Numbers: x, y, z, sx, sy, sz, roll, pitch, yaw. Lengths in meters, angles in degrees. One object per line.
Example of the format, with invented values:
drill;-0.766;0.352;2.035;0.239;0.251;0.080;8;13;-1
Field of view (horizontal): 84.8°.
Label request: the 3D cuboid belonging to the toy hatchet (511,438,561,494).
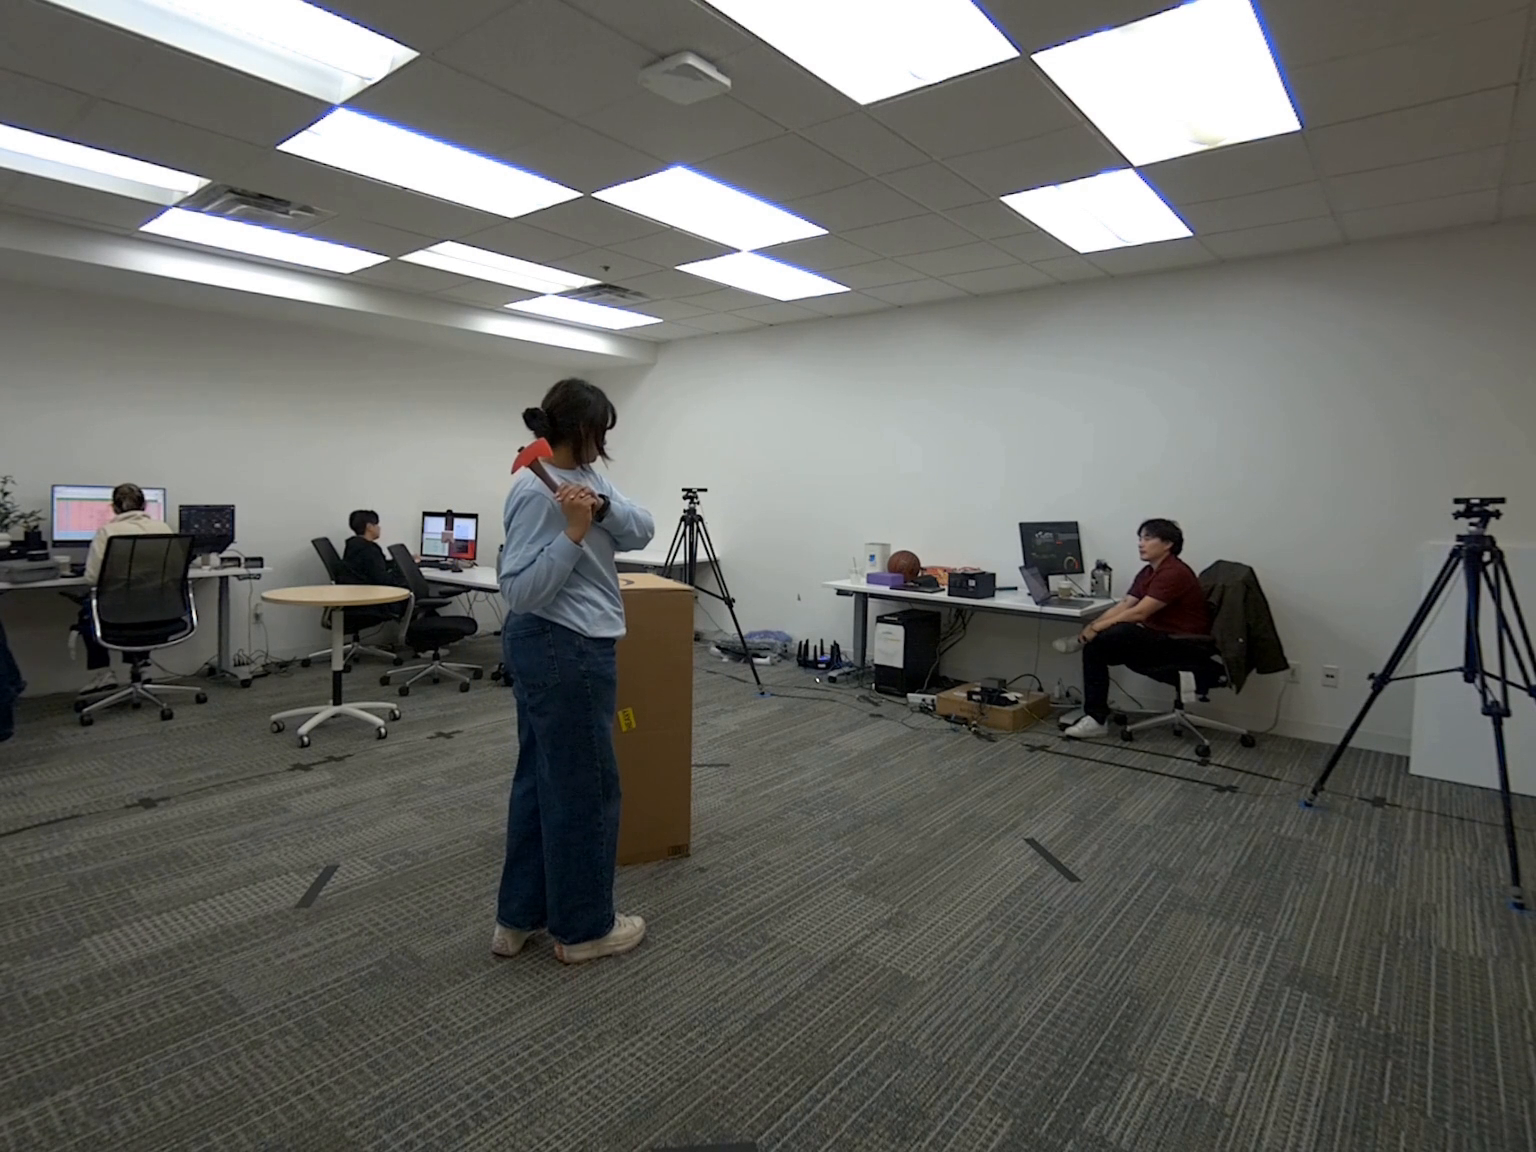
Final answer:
toy hatchet;-0.560;-0.282;2.284;0.272;0.130;0.029;27;8;4
